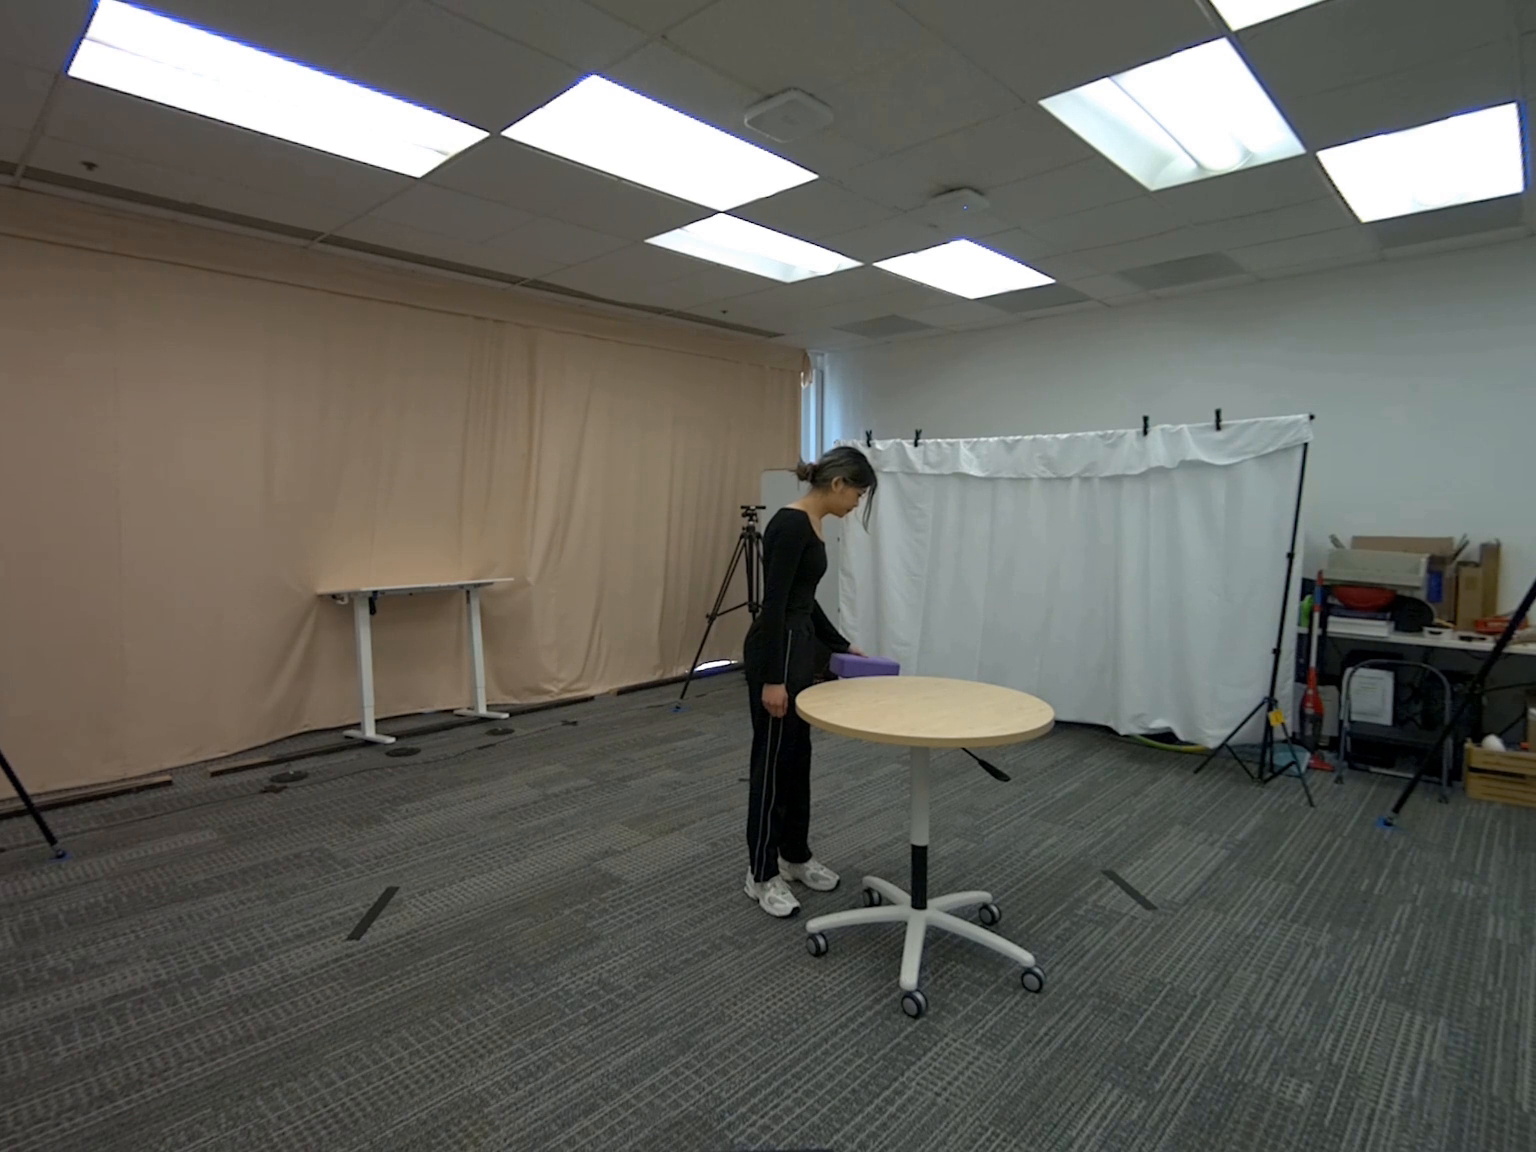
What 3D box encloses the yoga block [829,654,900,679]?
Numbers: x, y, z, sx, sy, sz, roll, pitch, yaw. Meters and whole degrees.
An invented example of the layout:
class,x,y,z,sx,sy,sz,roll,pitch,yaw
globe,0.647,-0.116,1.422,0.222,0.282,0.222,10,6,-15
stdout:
class,x,y,z,sx,sy,sz,roll,pitch,yaw
yoga block,0.373,0.349,3.202,0.227,0.076,0.151,6,2,-11
